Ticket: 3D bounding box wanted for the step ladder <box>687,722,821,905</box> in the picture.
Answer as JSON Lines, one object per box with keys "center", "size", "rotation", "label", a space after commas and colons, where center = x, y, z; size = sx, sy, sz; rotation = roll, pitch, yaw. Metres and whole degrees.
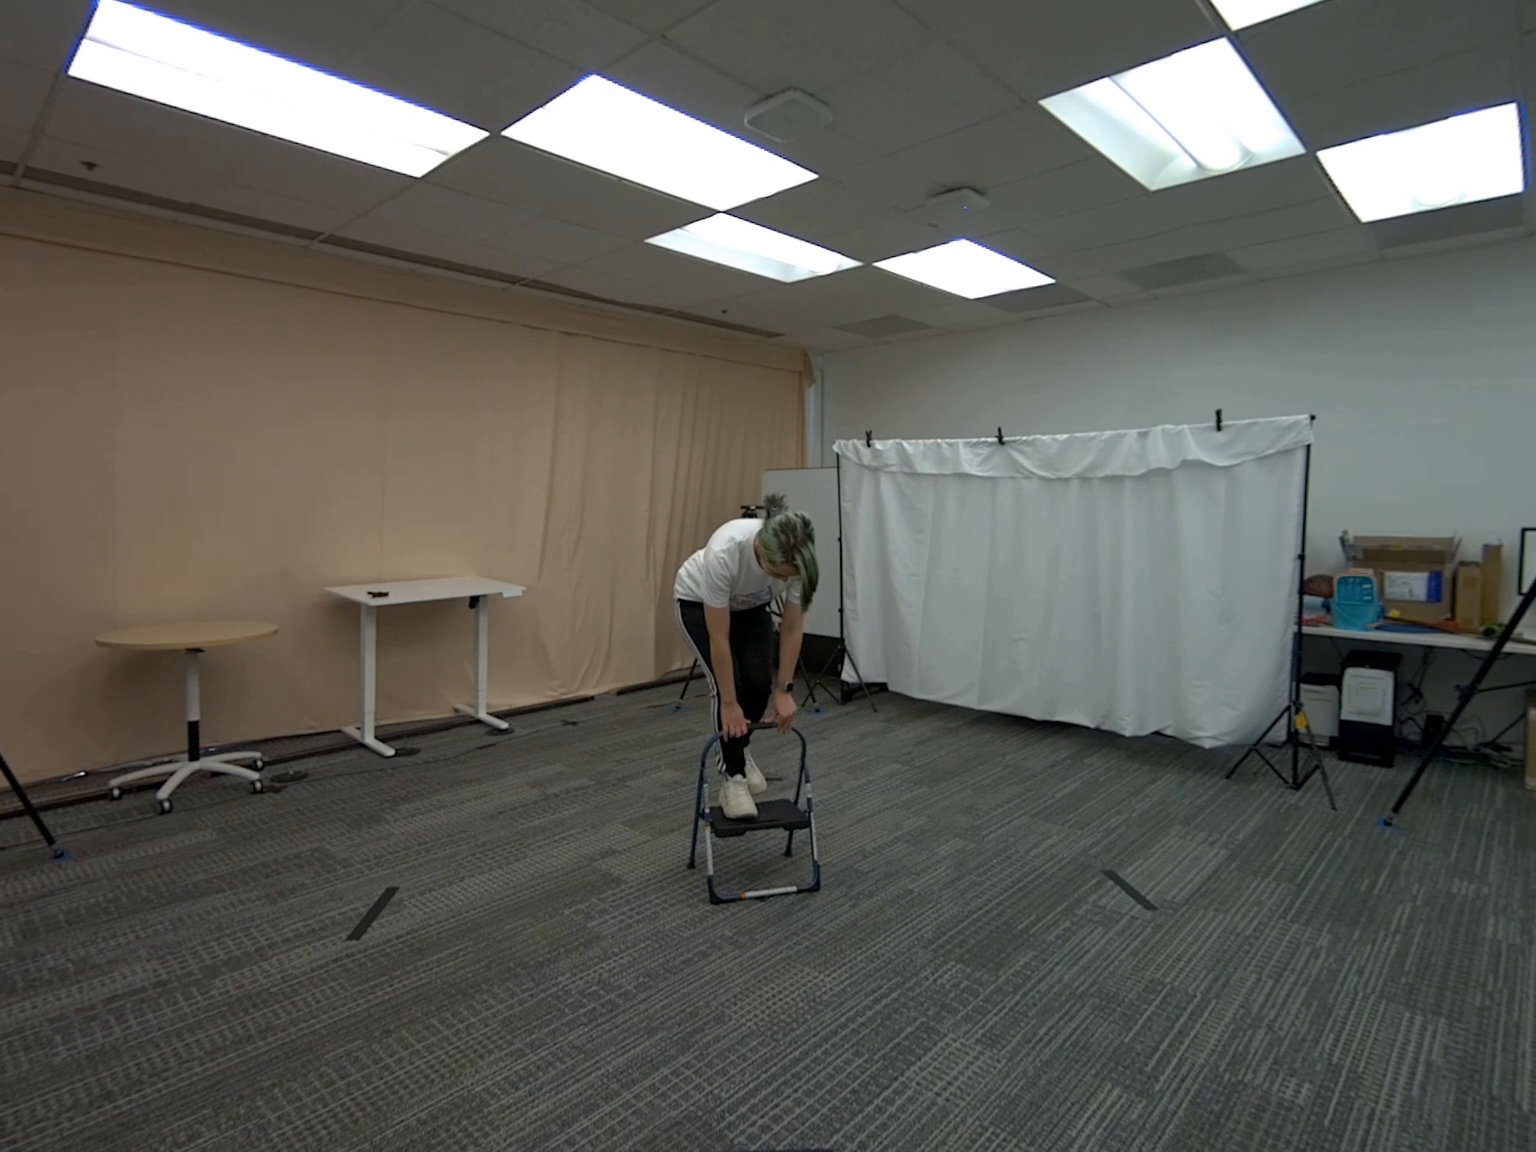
{"center": [-0.055, 0.832, 3.135], "size": [0.423, 0.605, 0.356], "rotation": [-2, 4, -18], "label": "step ladder"}
